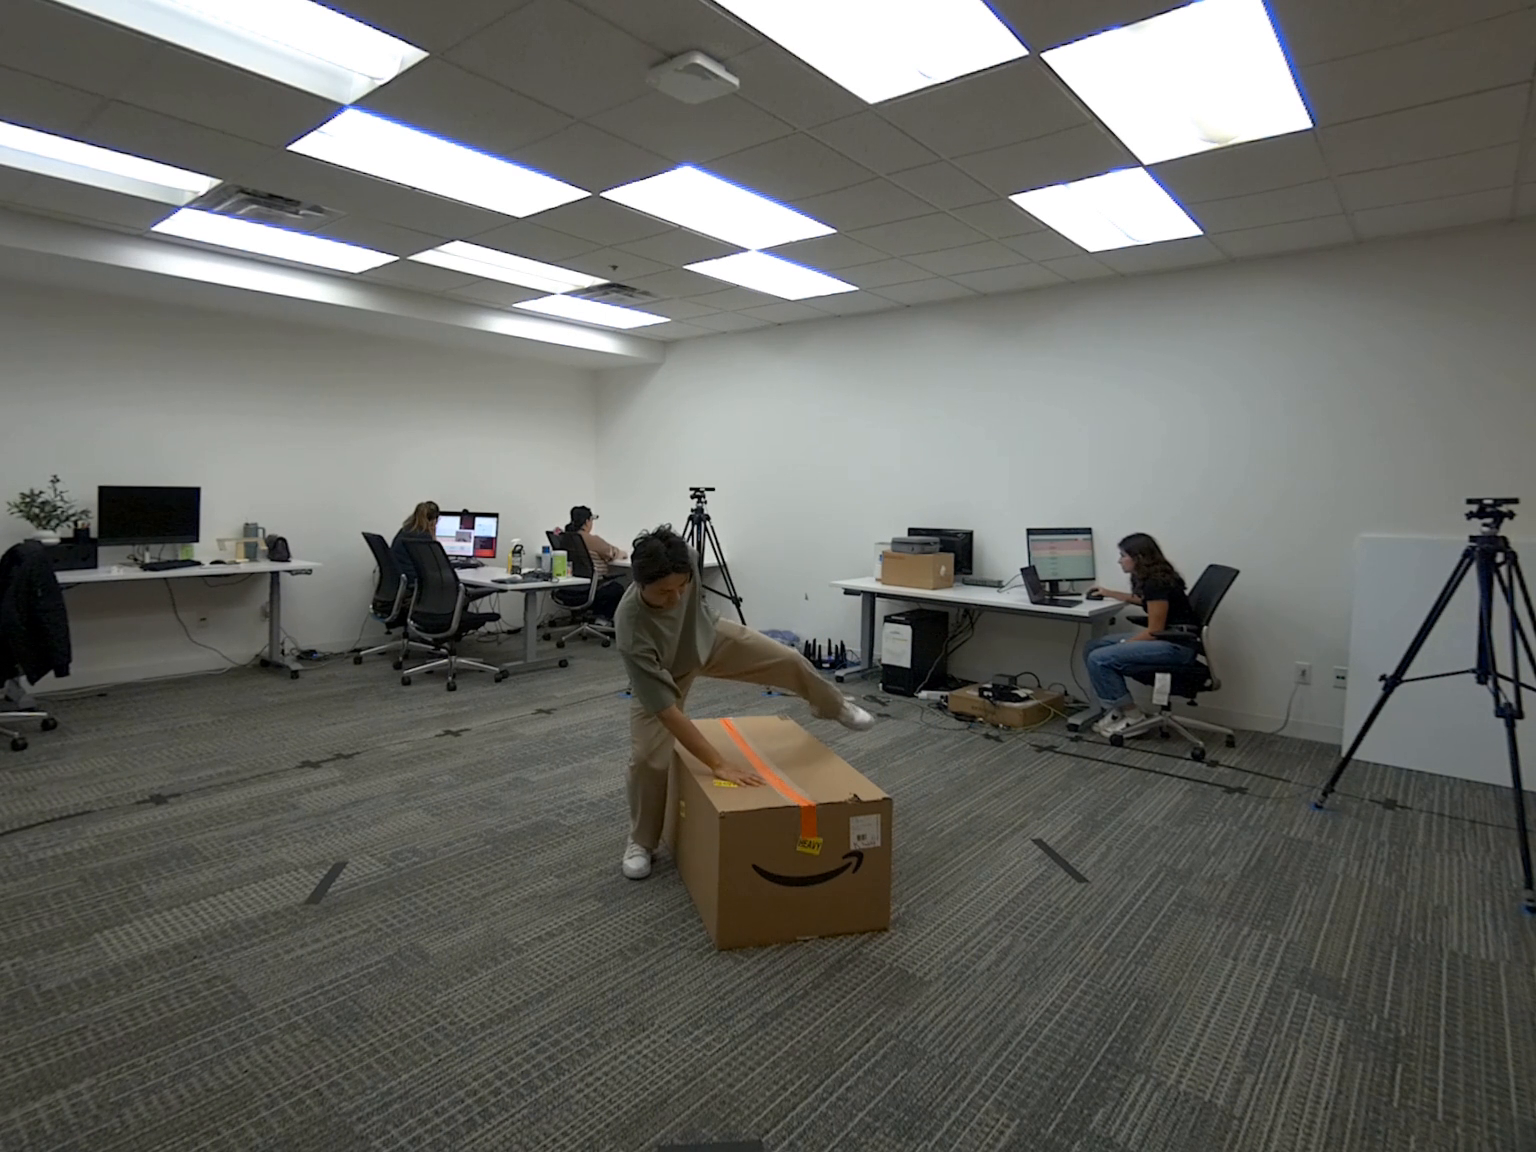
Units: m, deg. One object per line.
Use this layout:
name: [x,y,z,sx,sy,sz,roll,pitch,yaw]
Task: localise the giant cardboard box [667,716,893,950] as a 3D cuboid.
giant cardboard box: [-0.043,0.858,3.101,0.568,0.424,1.048,-1,6,-17]
